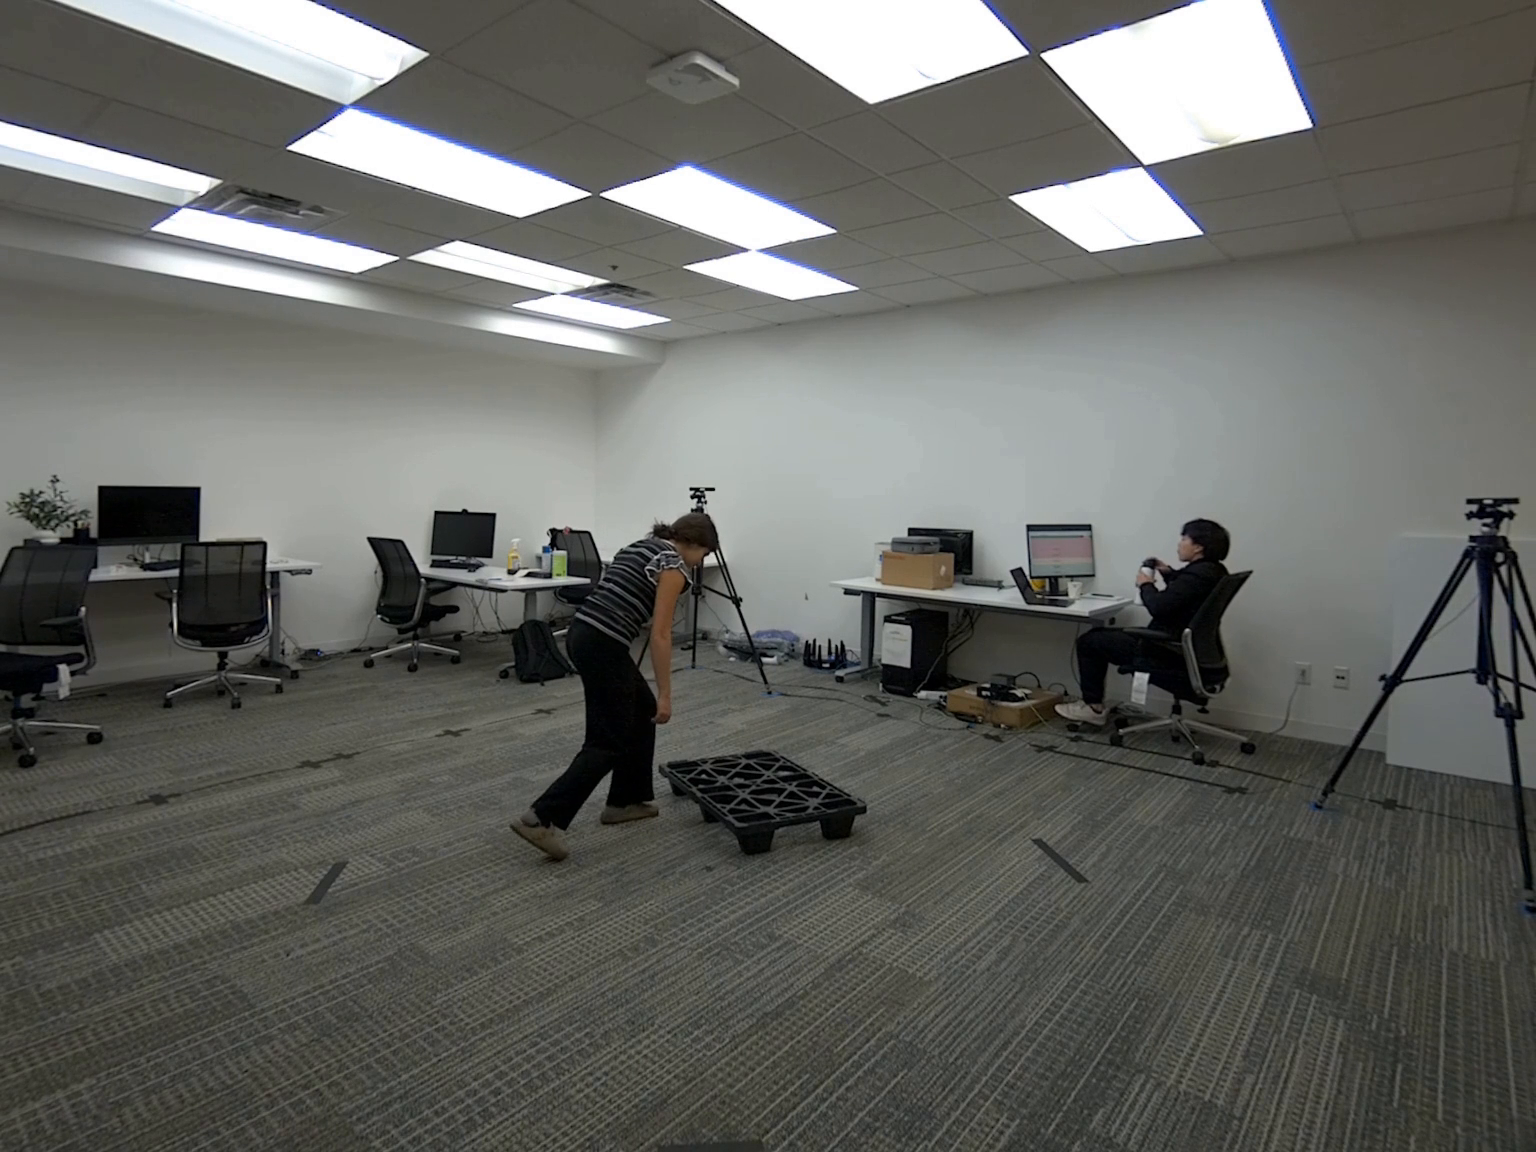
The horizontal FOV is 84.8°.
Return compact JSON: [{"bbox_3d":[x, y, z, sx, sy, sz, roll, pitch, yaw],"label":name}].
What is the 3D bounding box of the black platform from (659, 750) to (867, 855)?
[{"bbox_3d":[-0.061,0.948,3.654,0.590,0.143,0.829,-1,6,-28],"label":"black platform"}]
